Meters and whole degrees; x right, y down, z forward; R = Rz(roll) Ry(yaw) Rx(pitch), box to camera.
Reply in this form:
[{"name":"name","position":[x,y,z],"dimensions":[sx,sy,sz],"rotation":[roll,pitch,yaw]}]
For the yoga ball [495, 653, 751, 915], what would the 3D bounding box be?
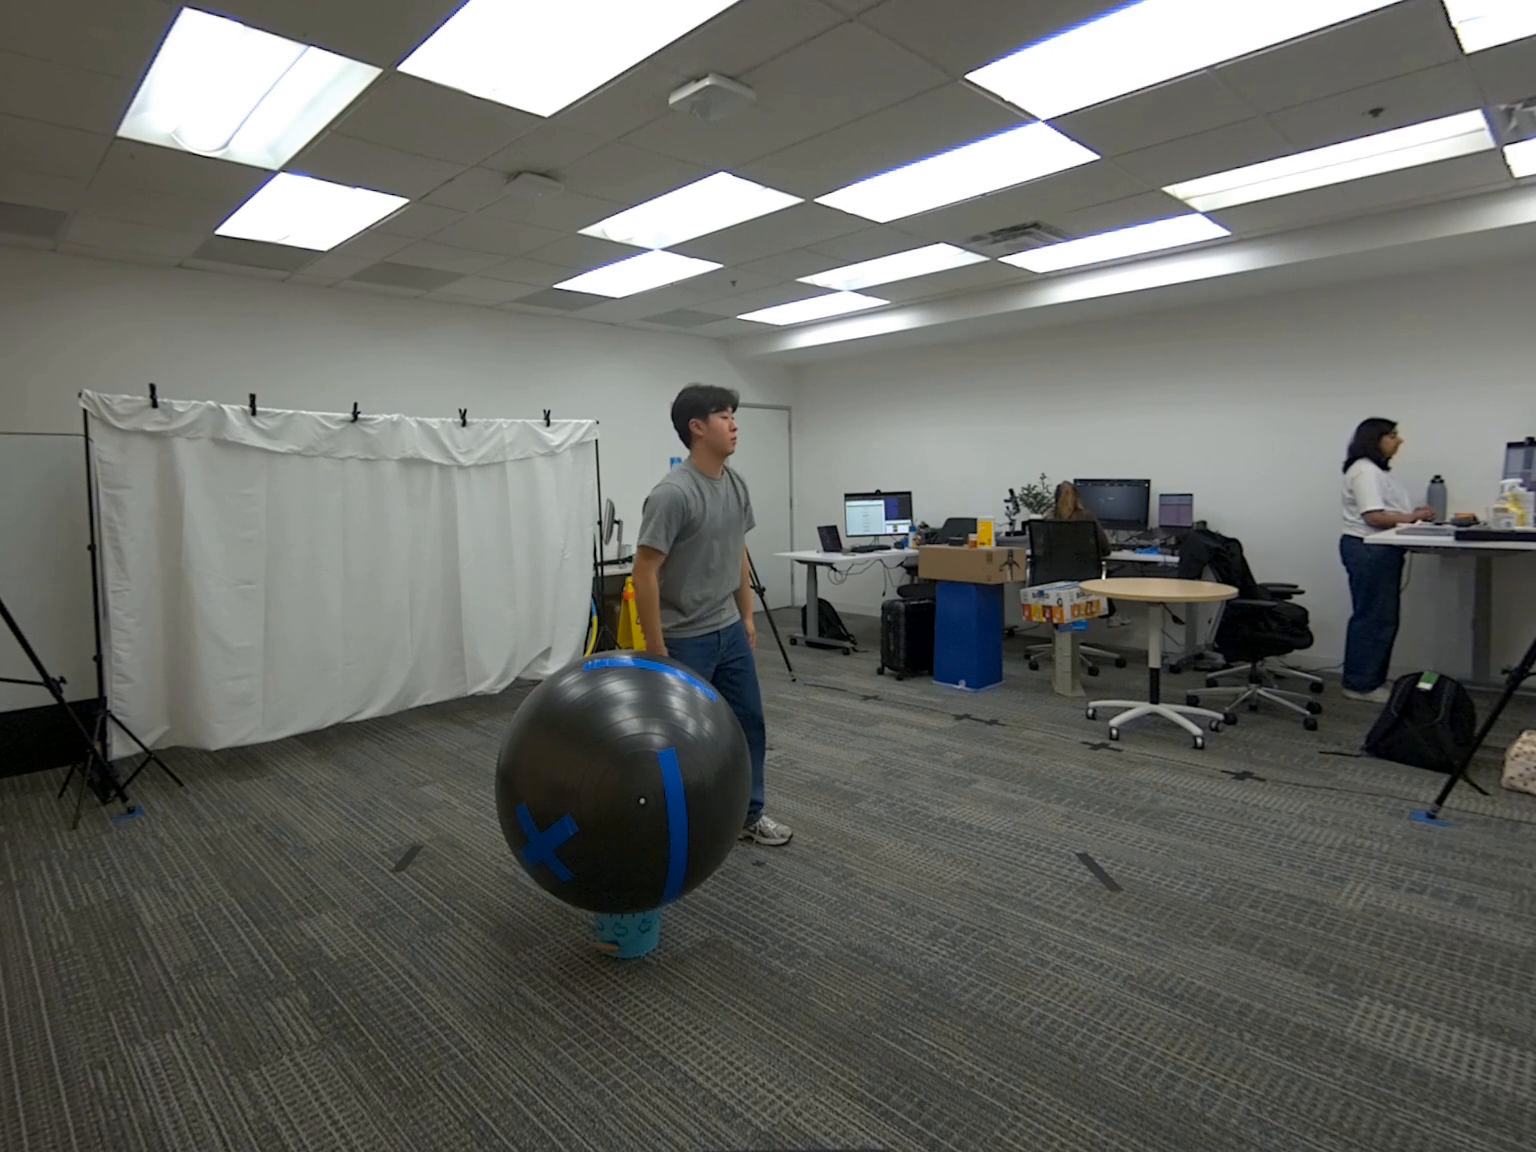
[{"name":"yoga ball","position":[-0.436,0.611,2.566],"dimensions":[0.757,0.755,0.762],"rotation":[-1,5,-2]}]
